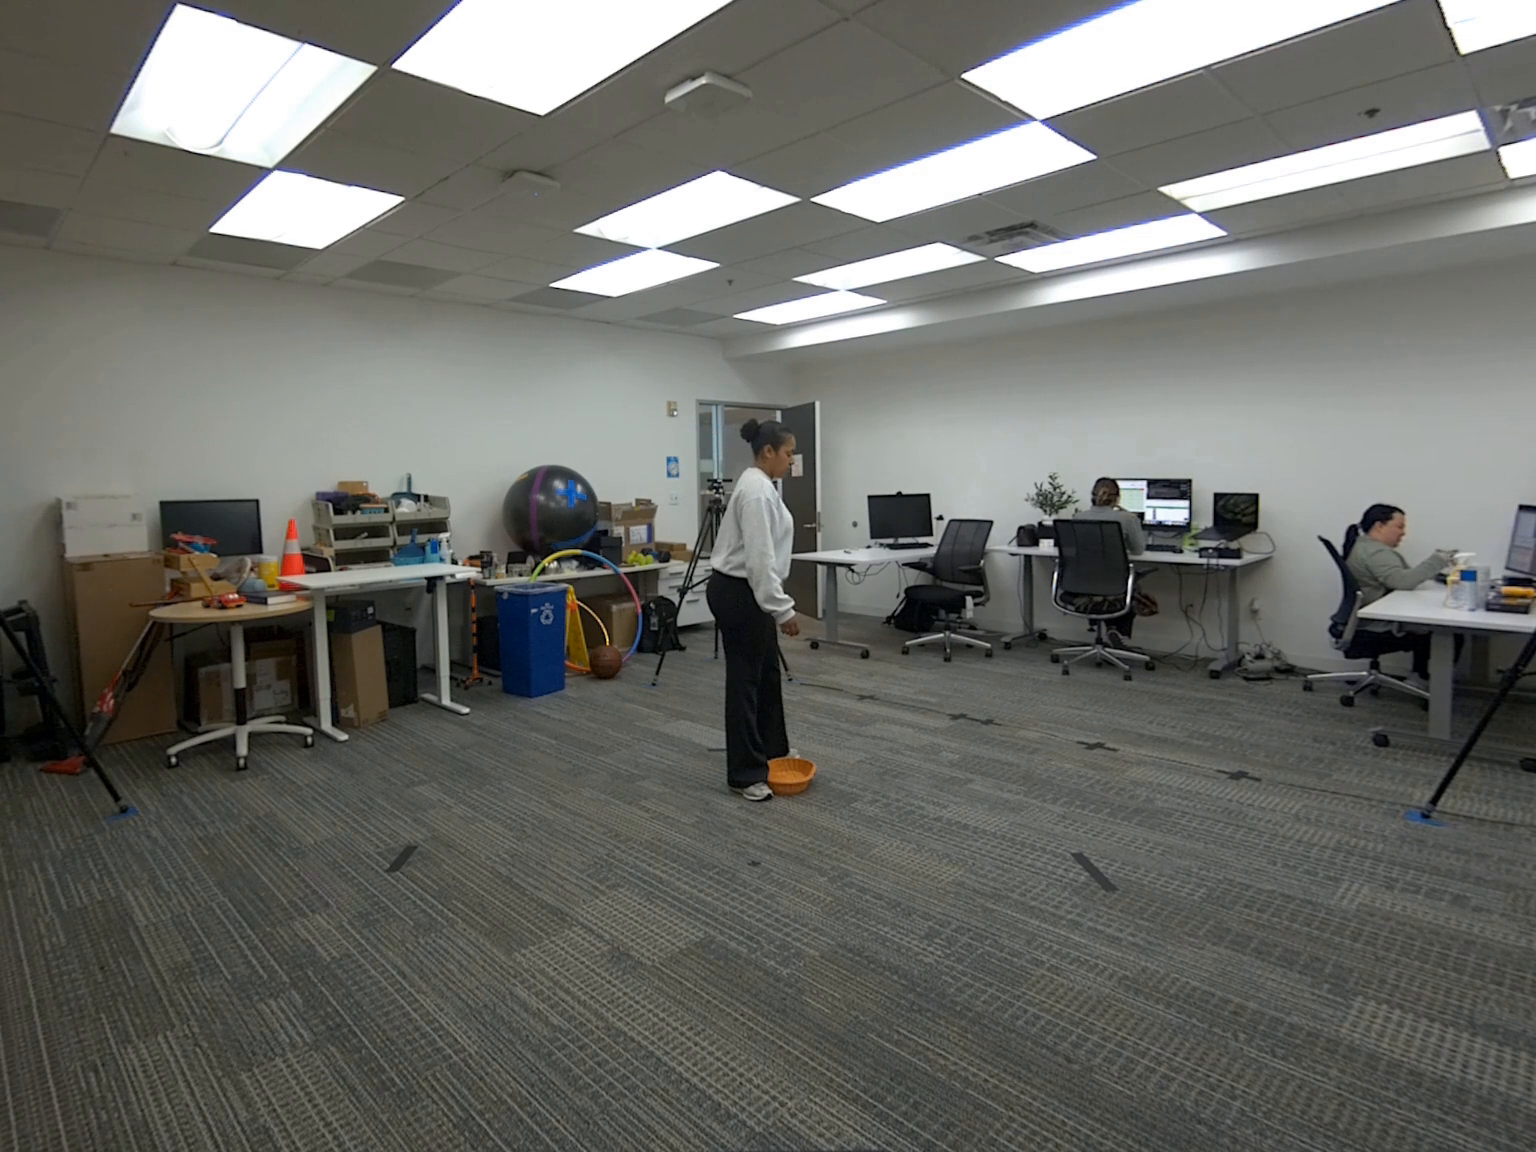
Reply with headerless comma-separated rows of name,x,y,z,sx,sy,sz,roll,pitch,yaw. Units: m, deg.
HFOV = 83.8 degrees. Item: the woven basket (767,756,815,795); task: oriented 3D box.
woven basket,0.088,0.916,3.907,0.257,0.073,0.346,0,7,17
